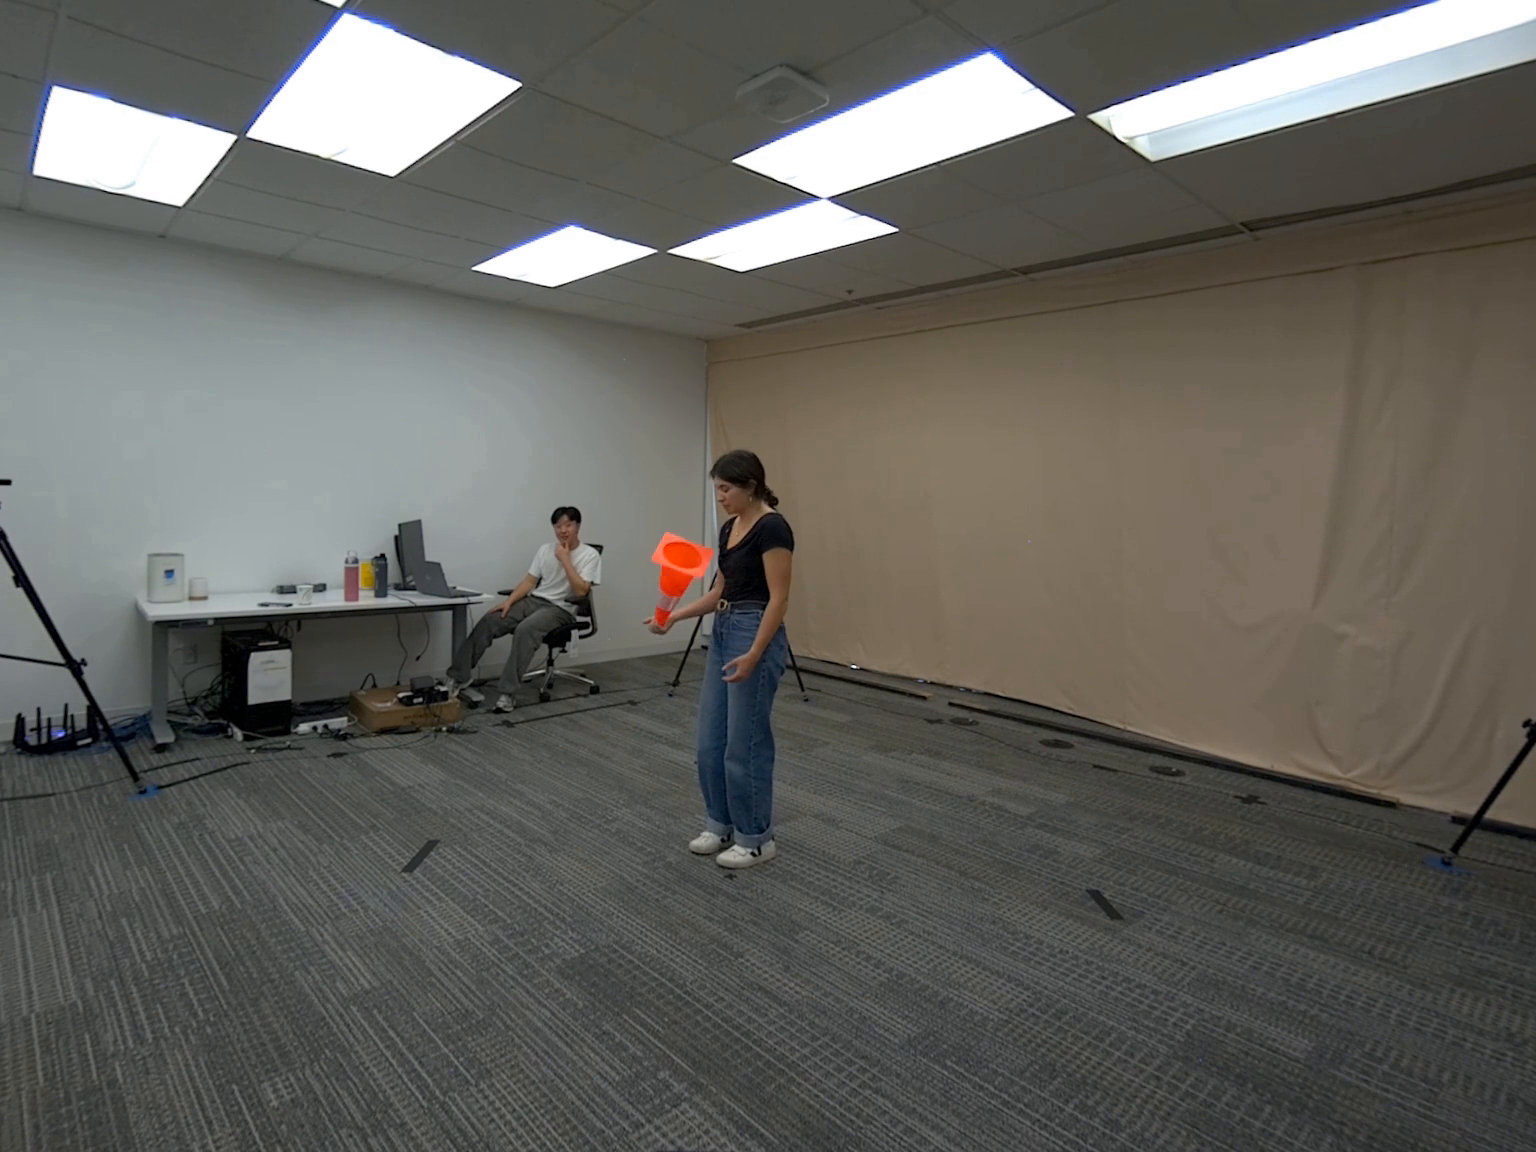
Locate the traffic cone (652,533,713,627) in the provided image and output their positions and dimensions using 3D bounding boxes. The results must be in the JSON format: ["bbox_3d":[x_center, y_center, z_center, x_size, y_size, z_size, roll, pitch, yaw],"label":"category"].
[{"bbox_3d":[-0.383,0.074,3.242,0.204,0.379,0.206,24,36,2],"label":"traffic cone"}]
